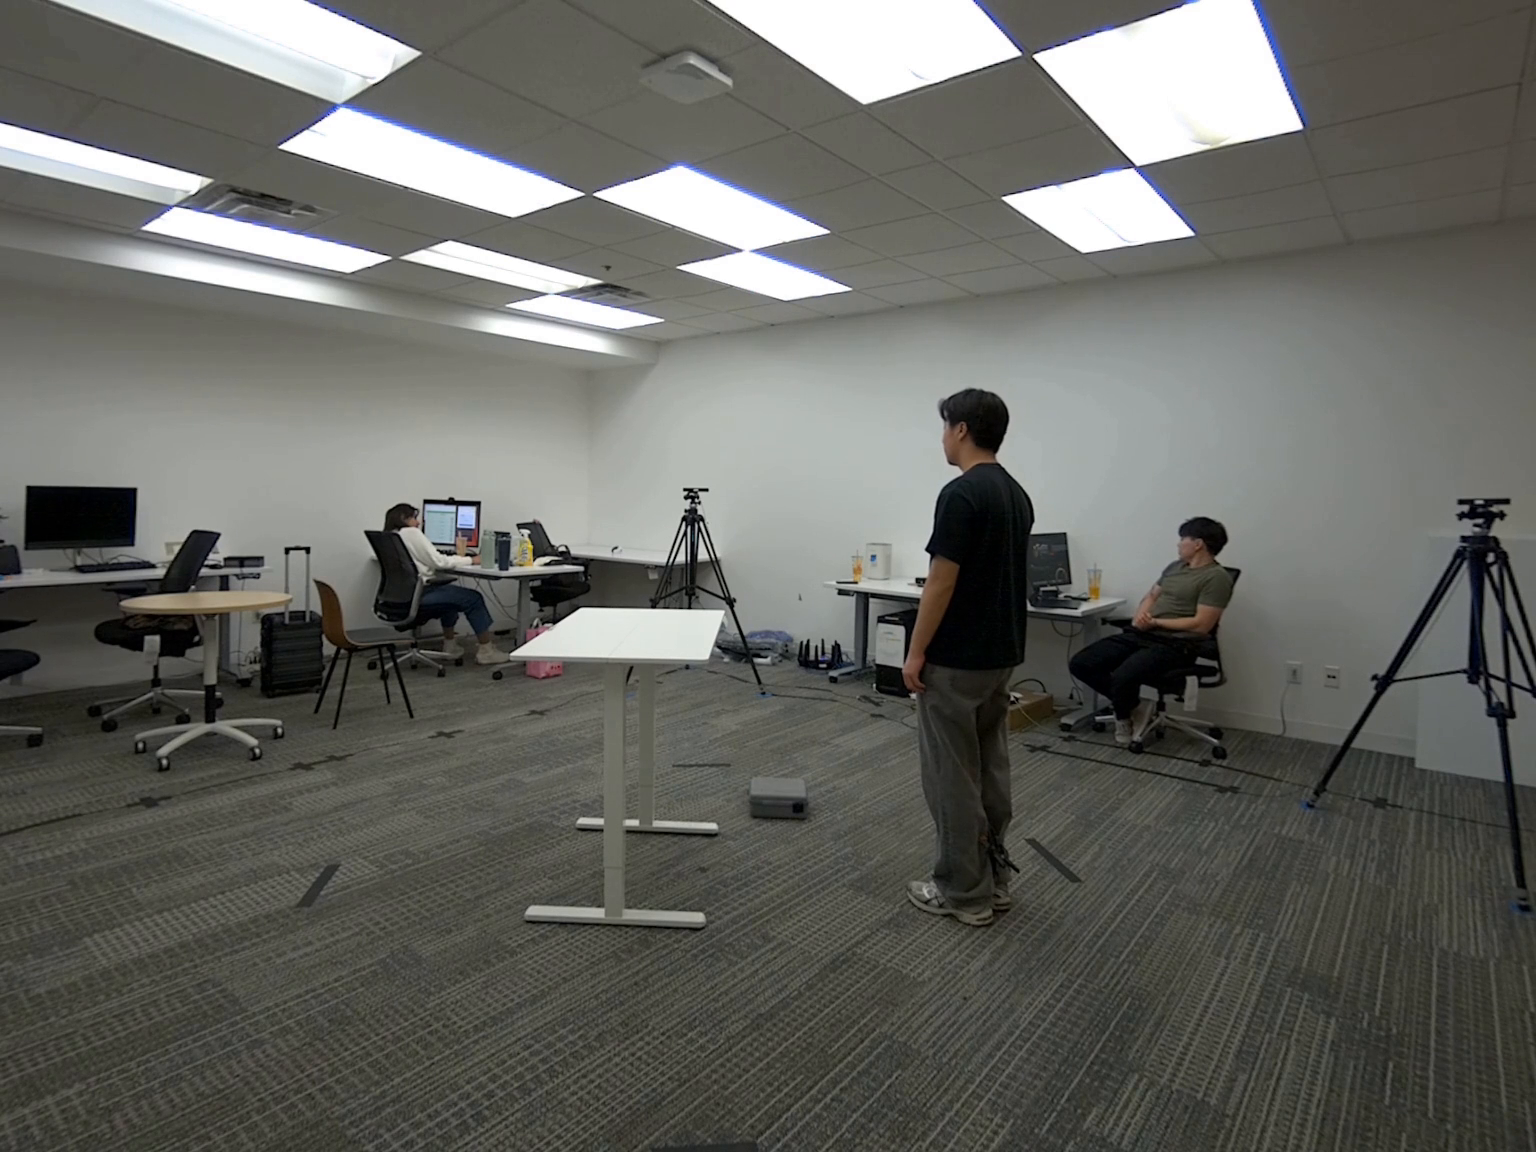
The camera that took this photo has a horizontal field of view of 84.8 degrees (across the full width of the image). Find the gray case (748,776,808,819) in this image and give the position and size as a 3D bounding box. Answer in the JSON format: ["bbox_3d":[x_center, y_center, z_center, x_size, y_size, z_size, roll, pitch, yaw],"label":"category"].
[{"bbox_3d":[0.034,0.957,3.729,0.264,0.102,0.287,0,5,2],"label":"gray case"}]
